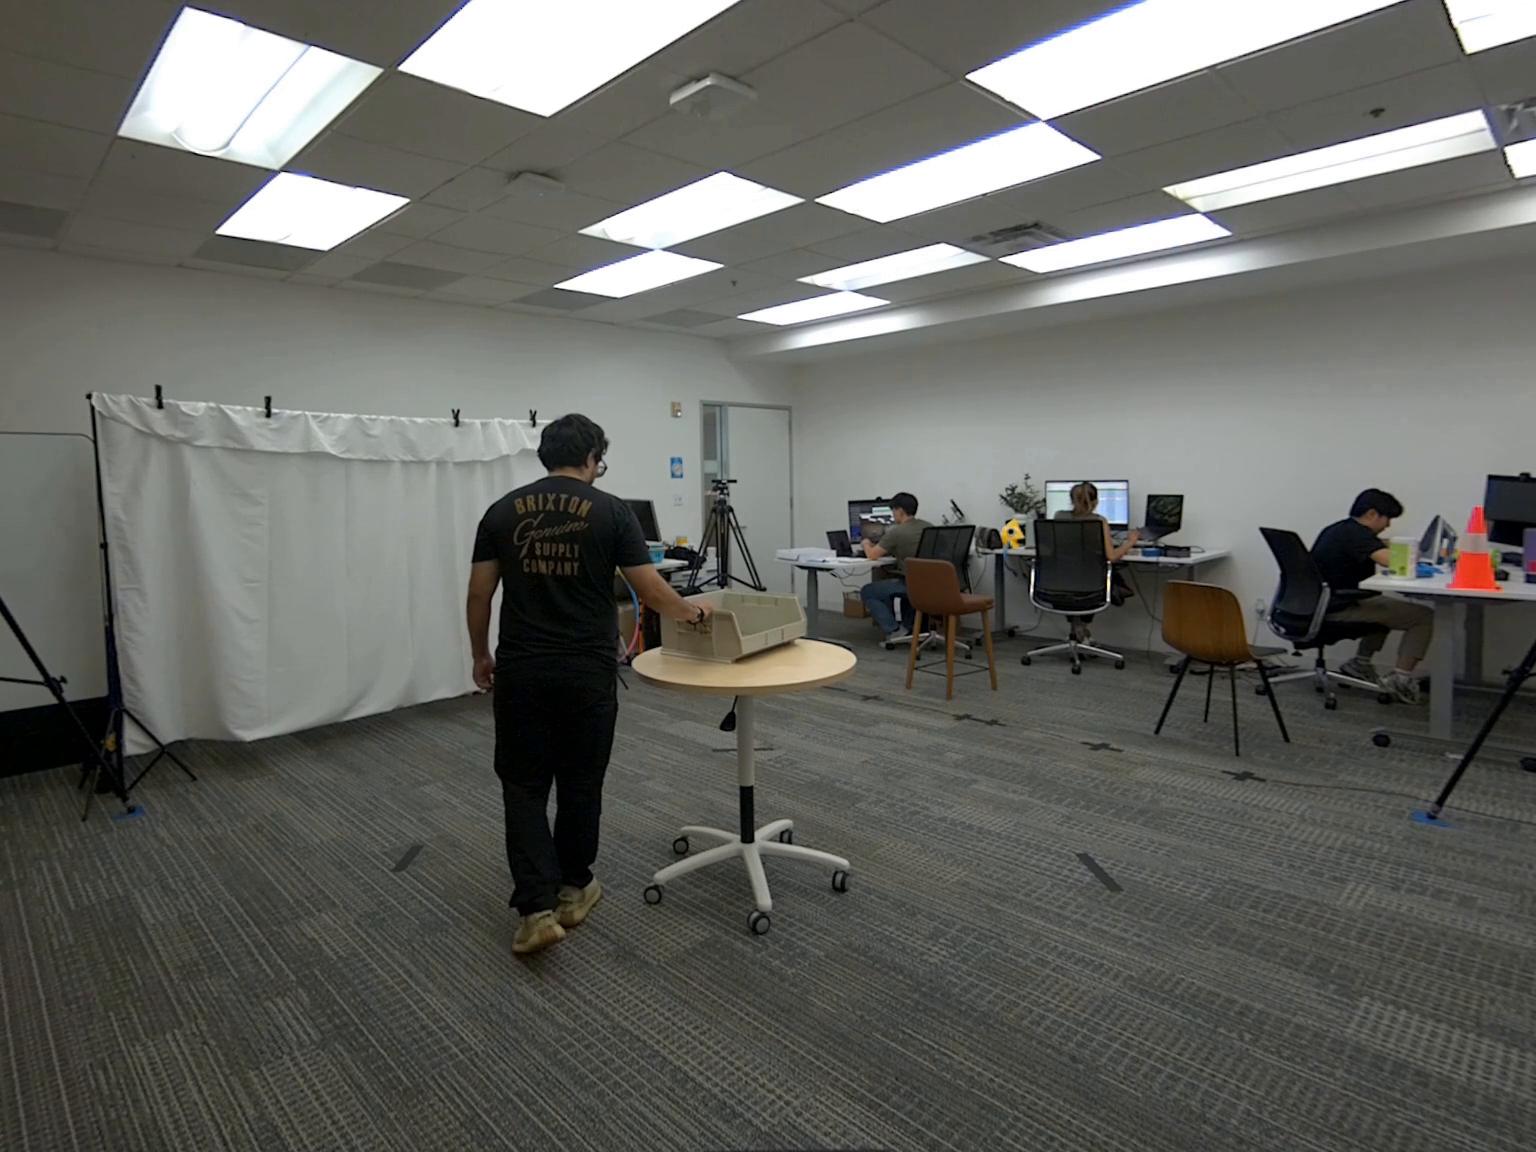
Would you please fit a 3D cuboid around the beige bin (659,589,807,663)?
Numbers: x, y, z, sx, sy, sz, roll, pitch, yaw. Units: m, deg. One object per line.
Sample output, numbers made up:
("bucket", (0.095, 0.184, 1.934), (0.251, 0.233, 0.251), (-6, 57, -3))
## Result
("beige bin", (-0.127, 0.175, 3.091), (0.388, 0.188, 0.412), (2, 8, 36))
